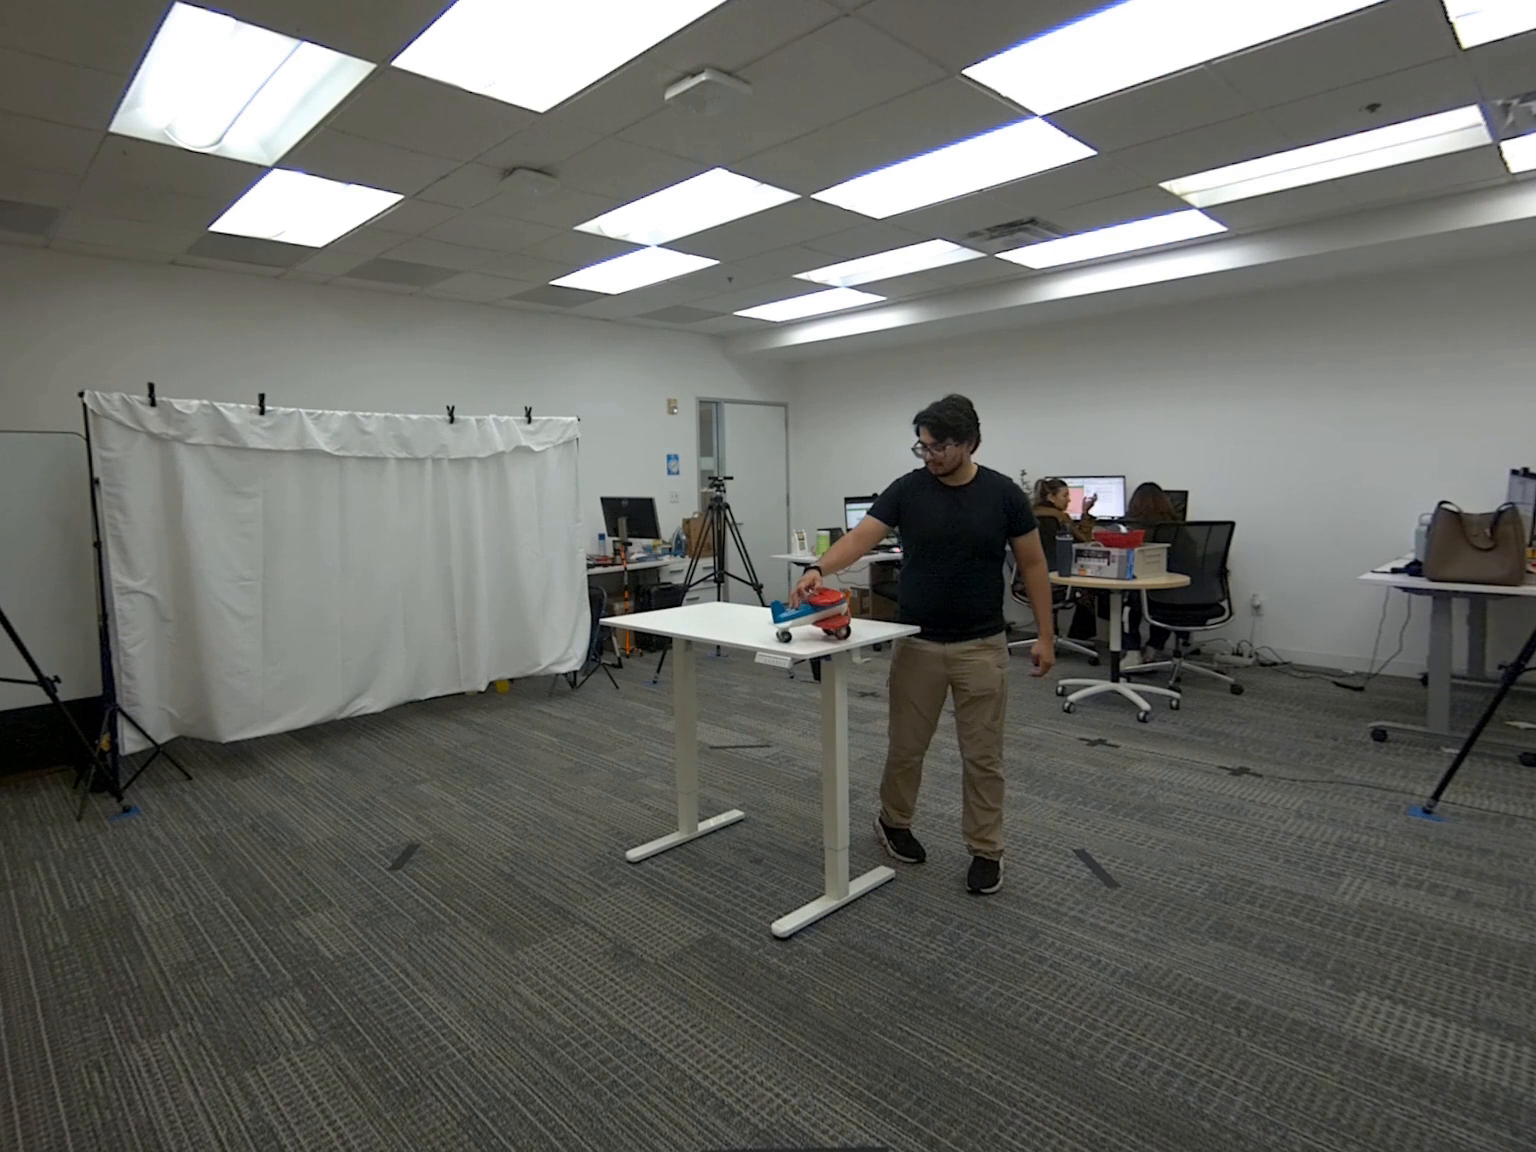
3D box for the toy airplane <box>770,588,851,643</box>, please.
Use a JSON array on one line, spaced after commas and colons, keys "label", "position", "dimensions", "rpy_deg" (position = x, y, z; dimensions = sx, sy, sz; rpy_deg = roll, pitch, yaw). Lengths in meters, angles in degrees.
[{"label": "toy airplane", "position": [0.150, 0.123, 2.641], "dimensions": [0.259, 0.156, 0.252], "rpy_deg": [3, 6, 43]}]
